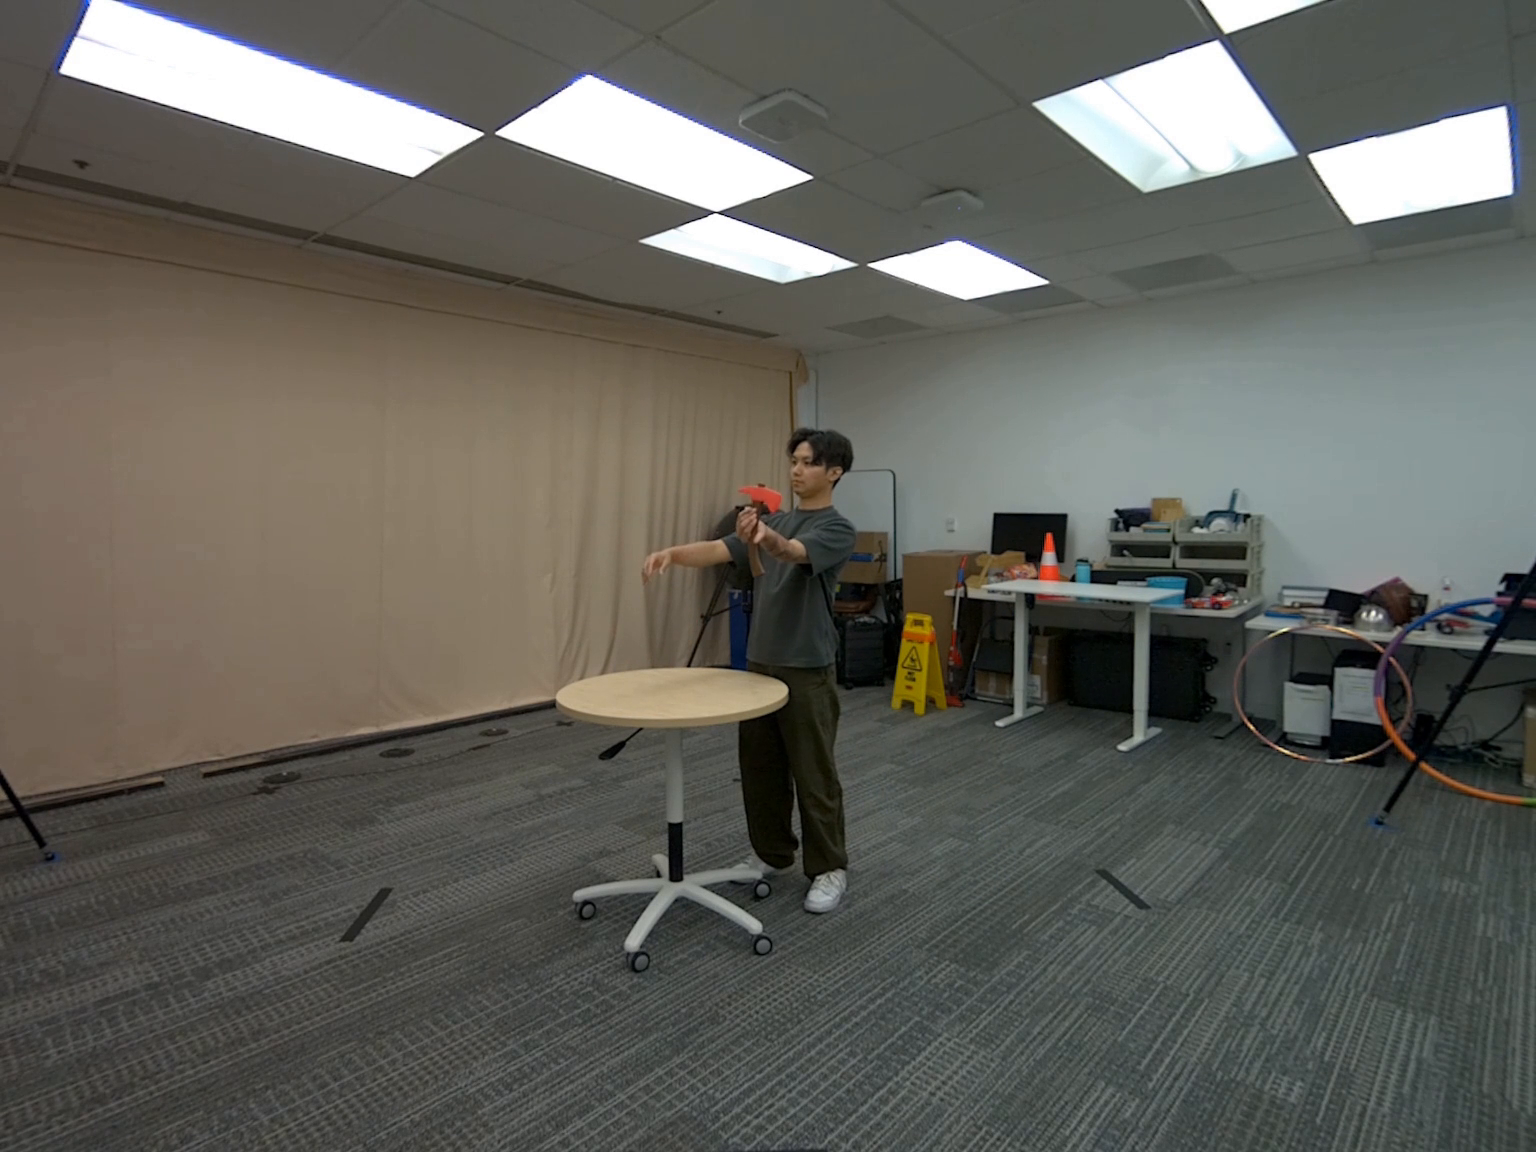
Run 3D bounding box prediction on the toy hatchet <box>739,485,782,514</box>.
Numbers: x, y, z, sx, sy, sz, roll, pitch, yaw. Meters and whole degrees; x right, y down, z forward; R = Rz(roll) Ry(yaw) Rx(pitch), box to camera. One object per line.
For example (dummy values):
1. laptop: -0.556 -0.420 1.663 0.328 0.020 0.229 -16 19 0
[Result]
1. toy hatchet: -0.006 -0.147 2.449 0.133 0.271 0.029 -13 -6 18
